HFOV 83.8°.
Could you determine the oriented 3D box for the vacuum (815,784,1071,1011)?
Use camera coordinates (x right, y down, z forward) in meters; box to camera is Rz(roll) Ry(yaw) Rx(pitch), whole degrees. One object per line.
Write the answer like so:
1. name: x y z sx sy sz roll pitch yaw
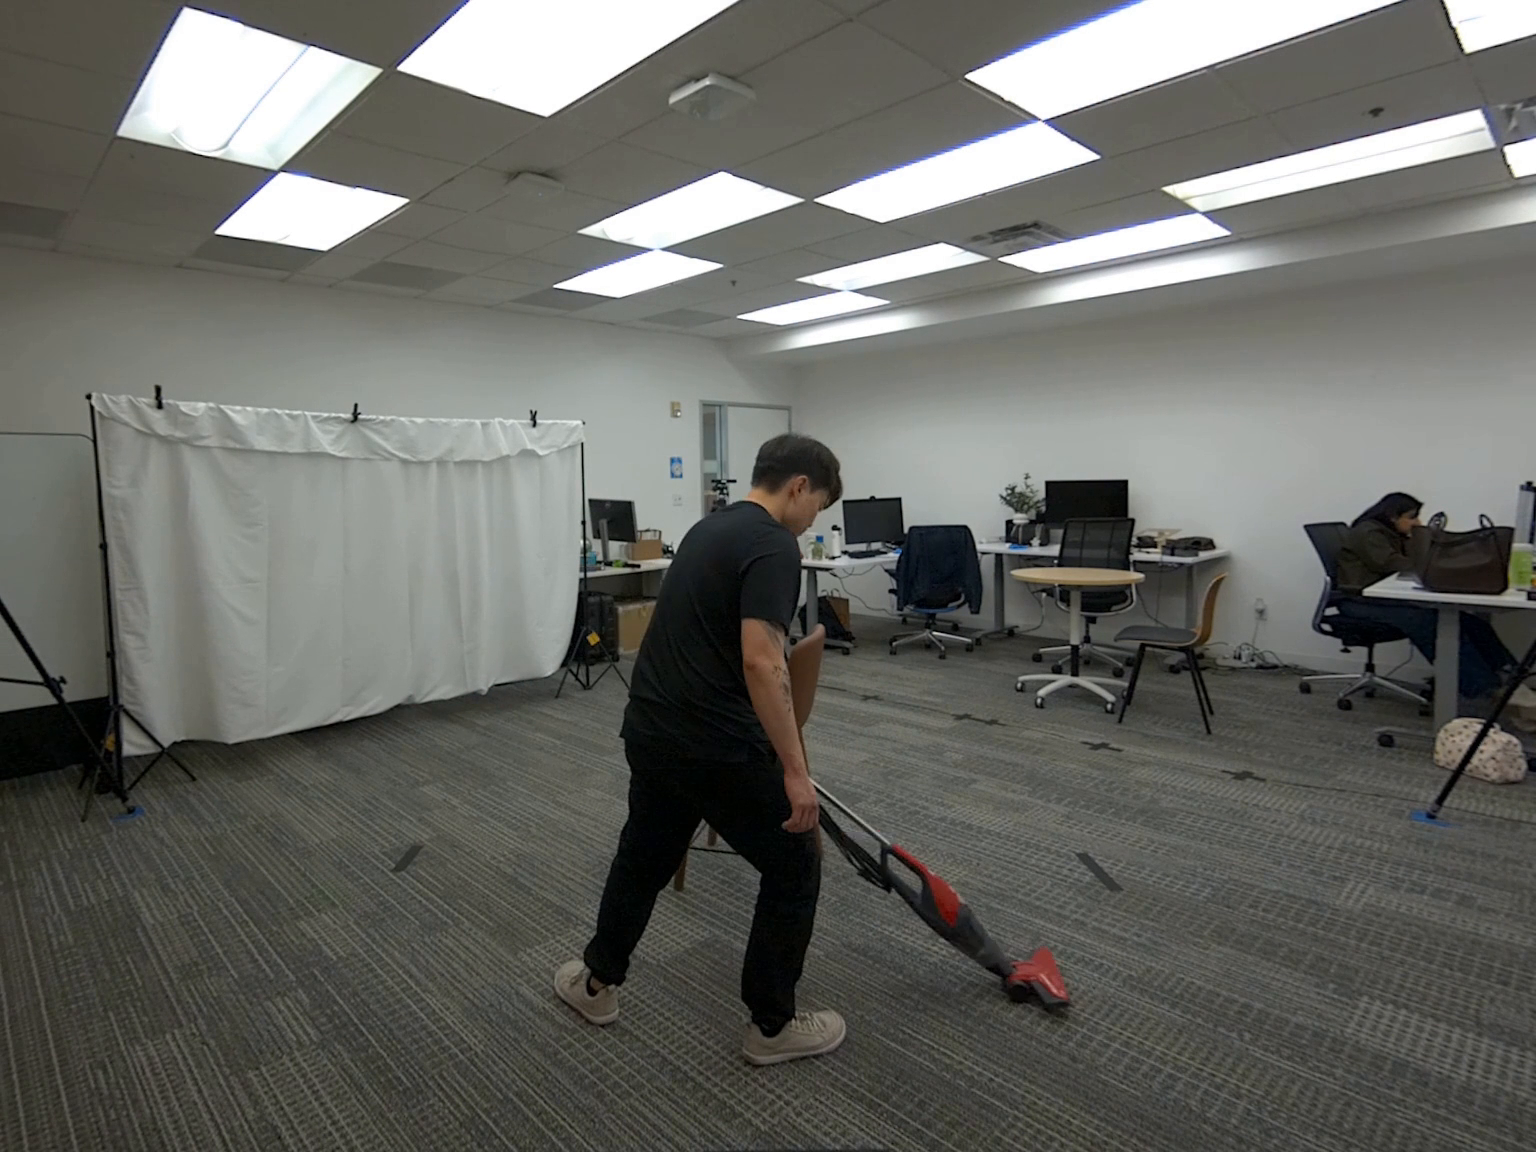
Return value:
1. vacuum: 0.308 0.781 2.370 1.059 0.144 0.250 39 9 7
